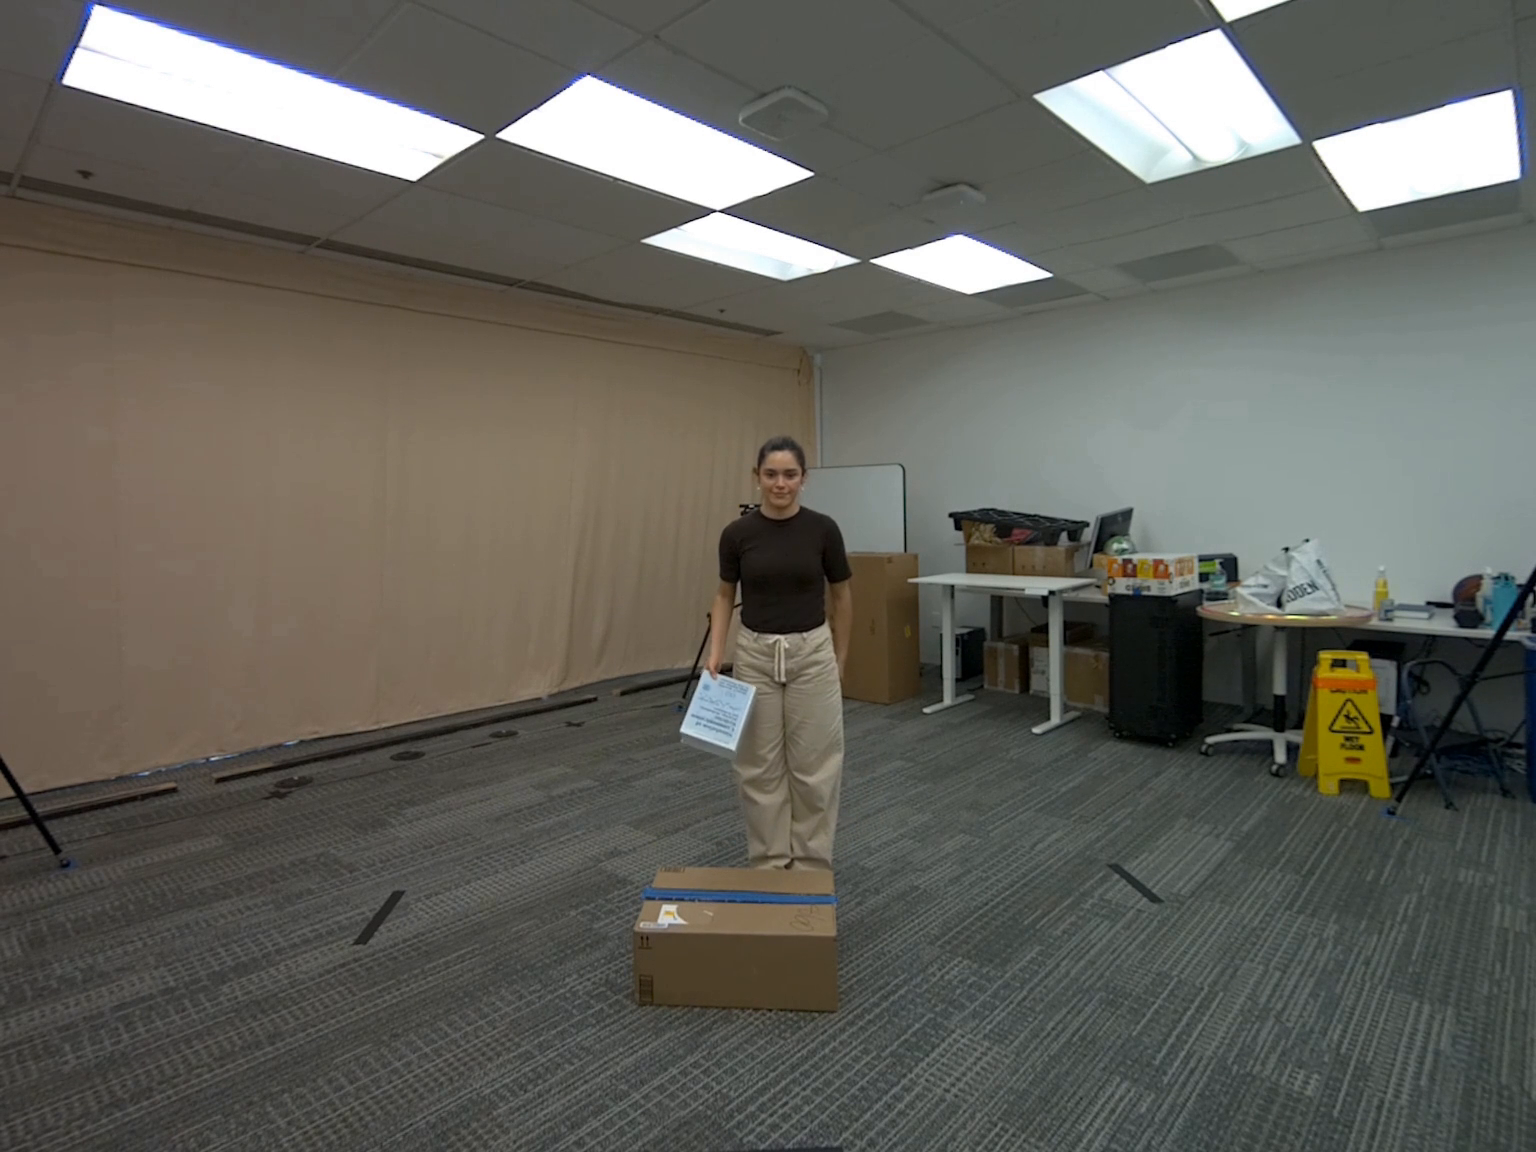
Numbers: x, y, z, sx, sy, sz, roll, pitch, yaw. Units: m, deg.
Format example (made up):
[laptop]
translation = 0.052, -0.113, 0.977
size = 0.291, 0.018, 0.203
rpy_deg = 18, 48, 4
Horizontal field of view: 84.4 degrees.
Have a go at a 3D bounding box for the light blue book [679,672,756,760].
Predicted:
[light blue book]
translation = -0.156, 0.443, 2.782
size = 0.193, 0.058, 0.262
rpy_deg = 16, 47, 6
